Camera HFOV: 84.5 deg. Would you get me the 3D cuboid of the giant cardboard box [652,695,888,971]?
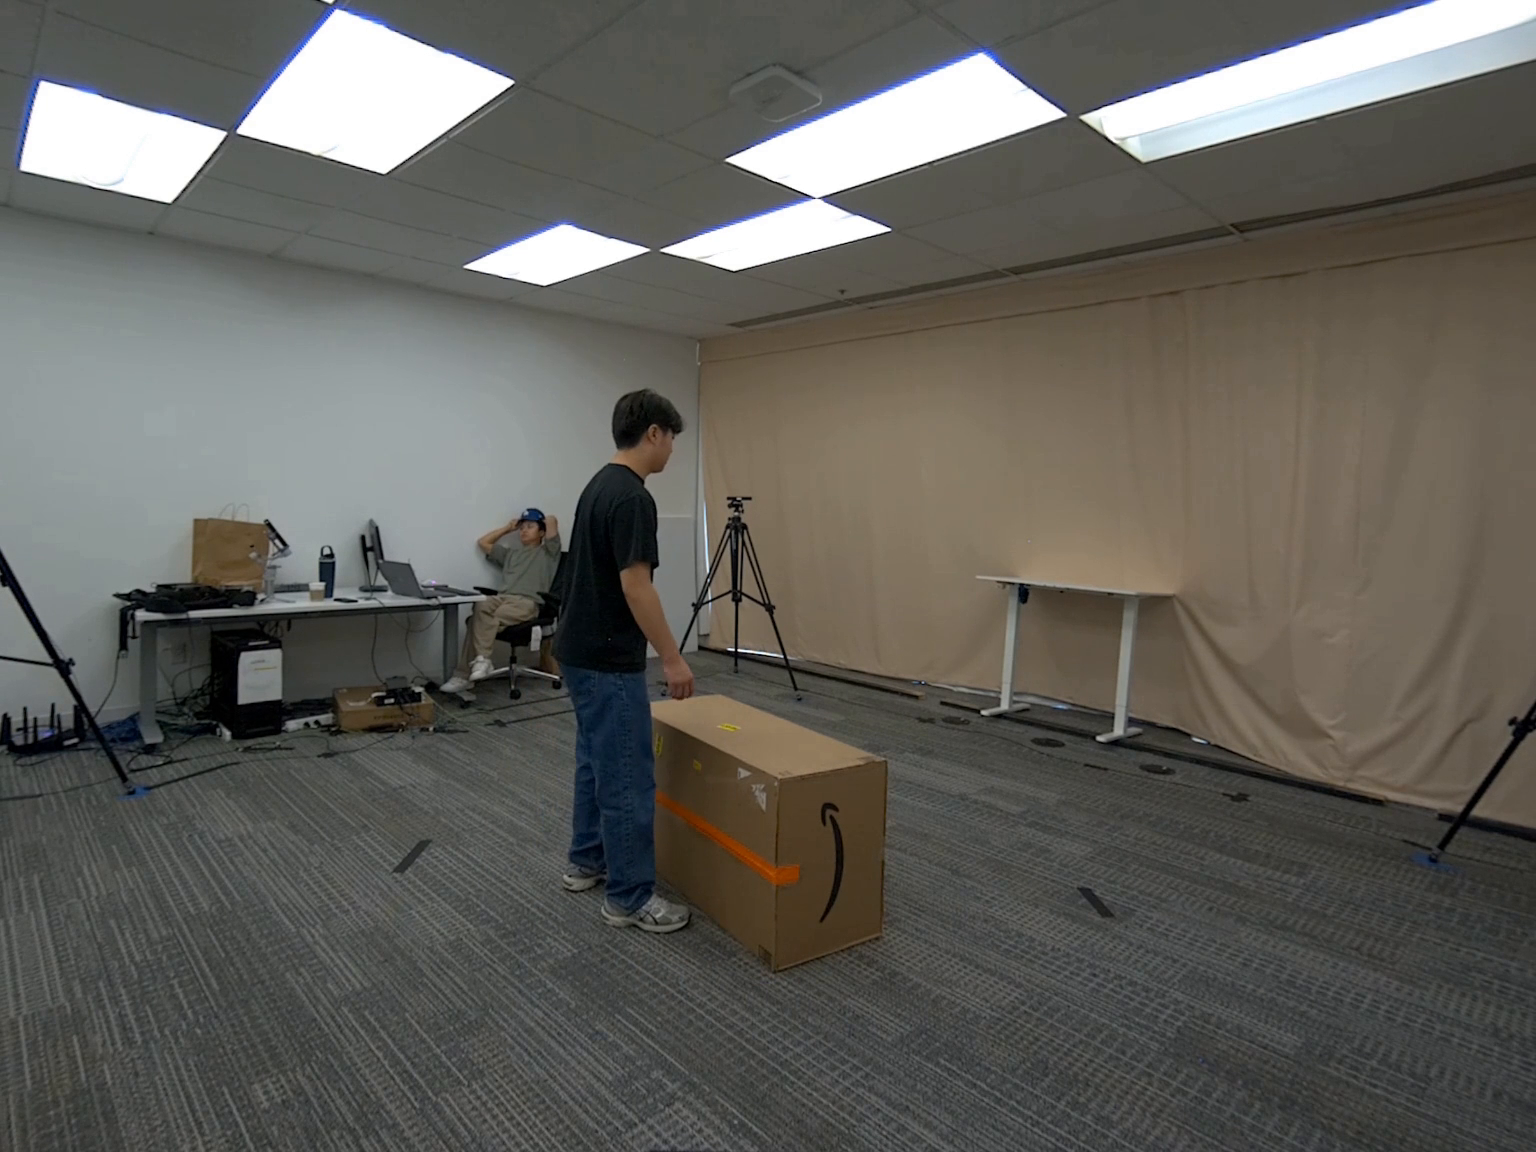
[{"bbox_3d":[-0.090,0.833,2.997,0.437,0.582,1.051,-2,5,-33],"label":"giant cardboard box"}]
